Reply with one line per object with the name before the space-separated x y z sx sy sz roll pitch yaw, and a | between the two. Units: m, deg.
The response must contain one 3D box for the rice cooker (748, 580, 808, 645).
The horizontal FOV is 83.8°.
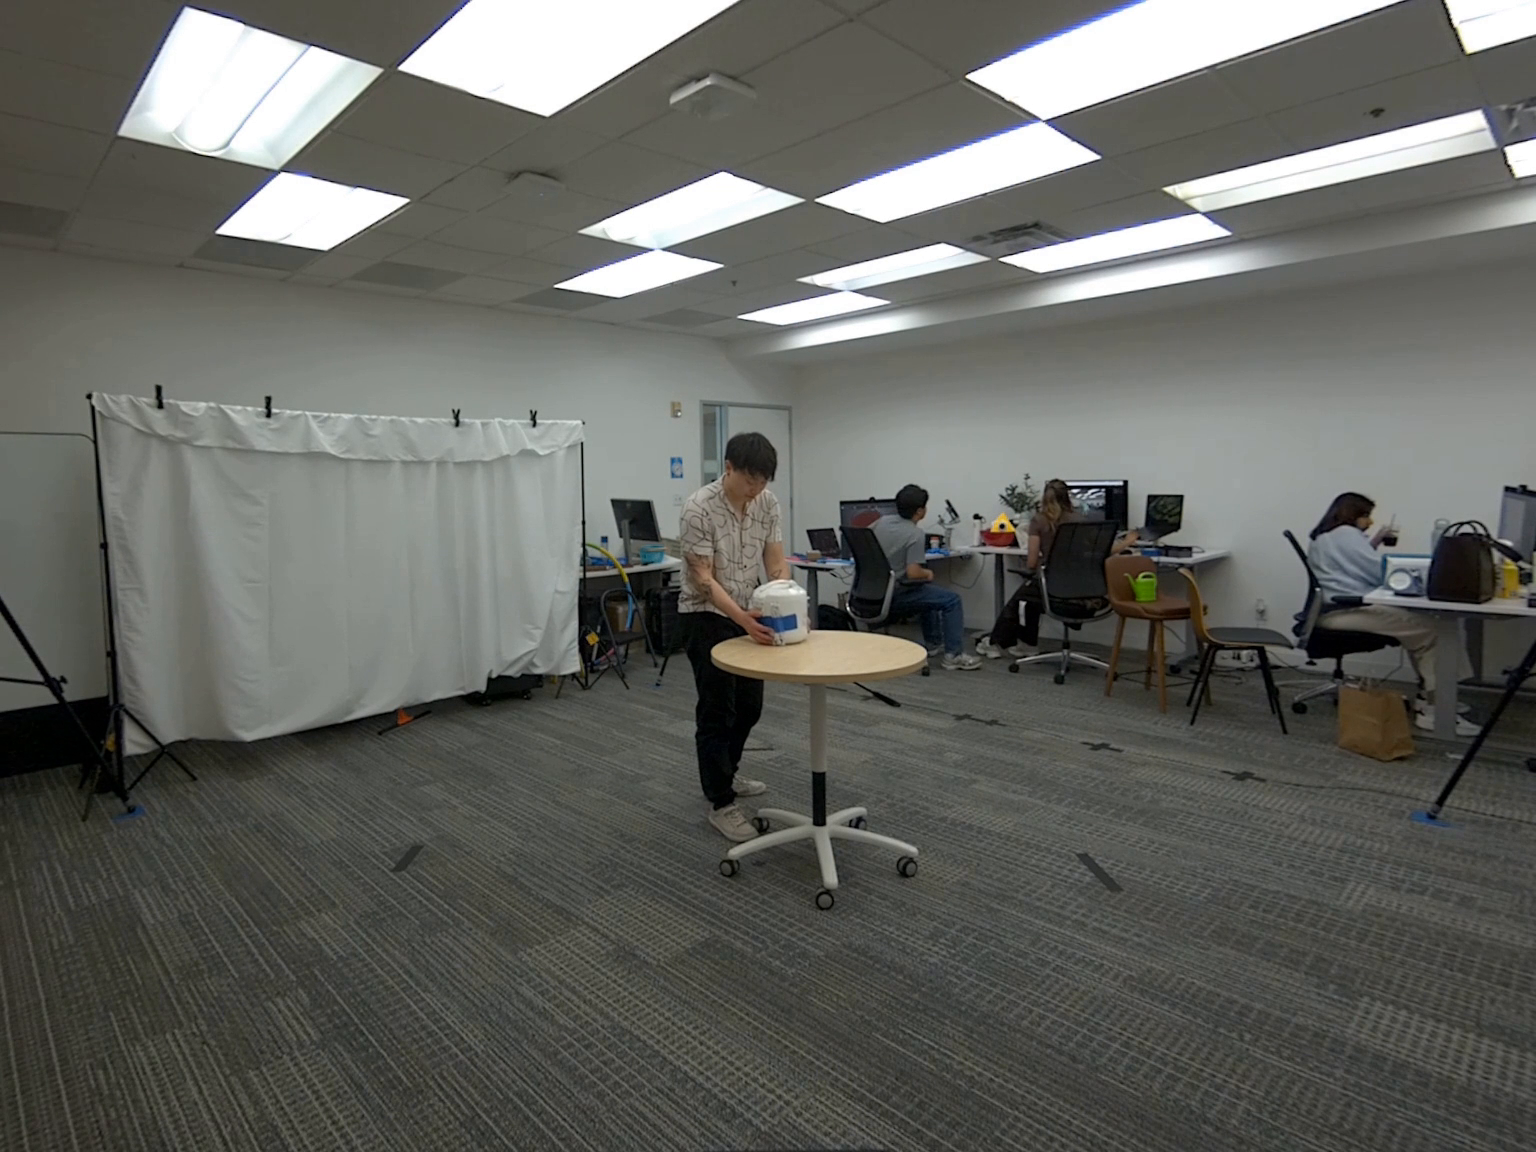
rice cooker | 0.047 0.133 3.242 0.215 0.232 0.224 -4 7 -36
